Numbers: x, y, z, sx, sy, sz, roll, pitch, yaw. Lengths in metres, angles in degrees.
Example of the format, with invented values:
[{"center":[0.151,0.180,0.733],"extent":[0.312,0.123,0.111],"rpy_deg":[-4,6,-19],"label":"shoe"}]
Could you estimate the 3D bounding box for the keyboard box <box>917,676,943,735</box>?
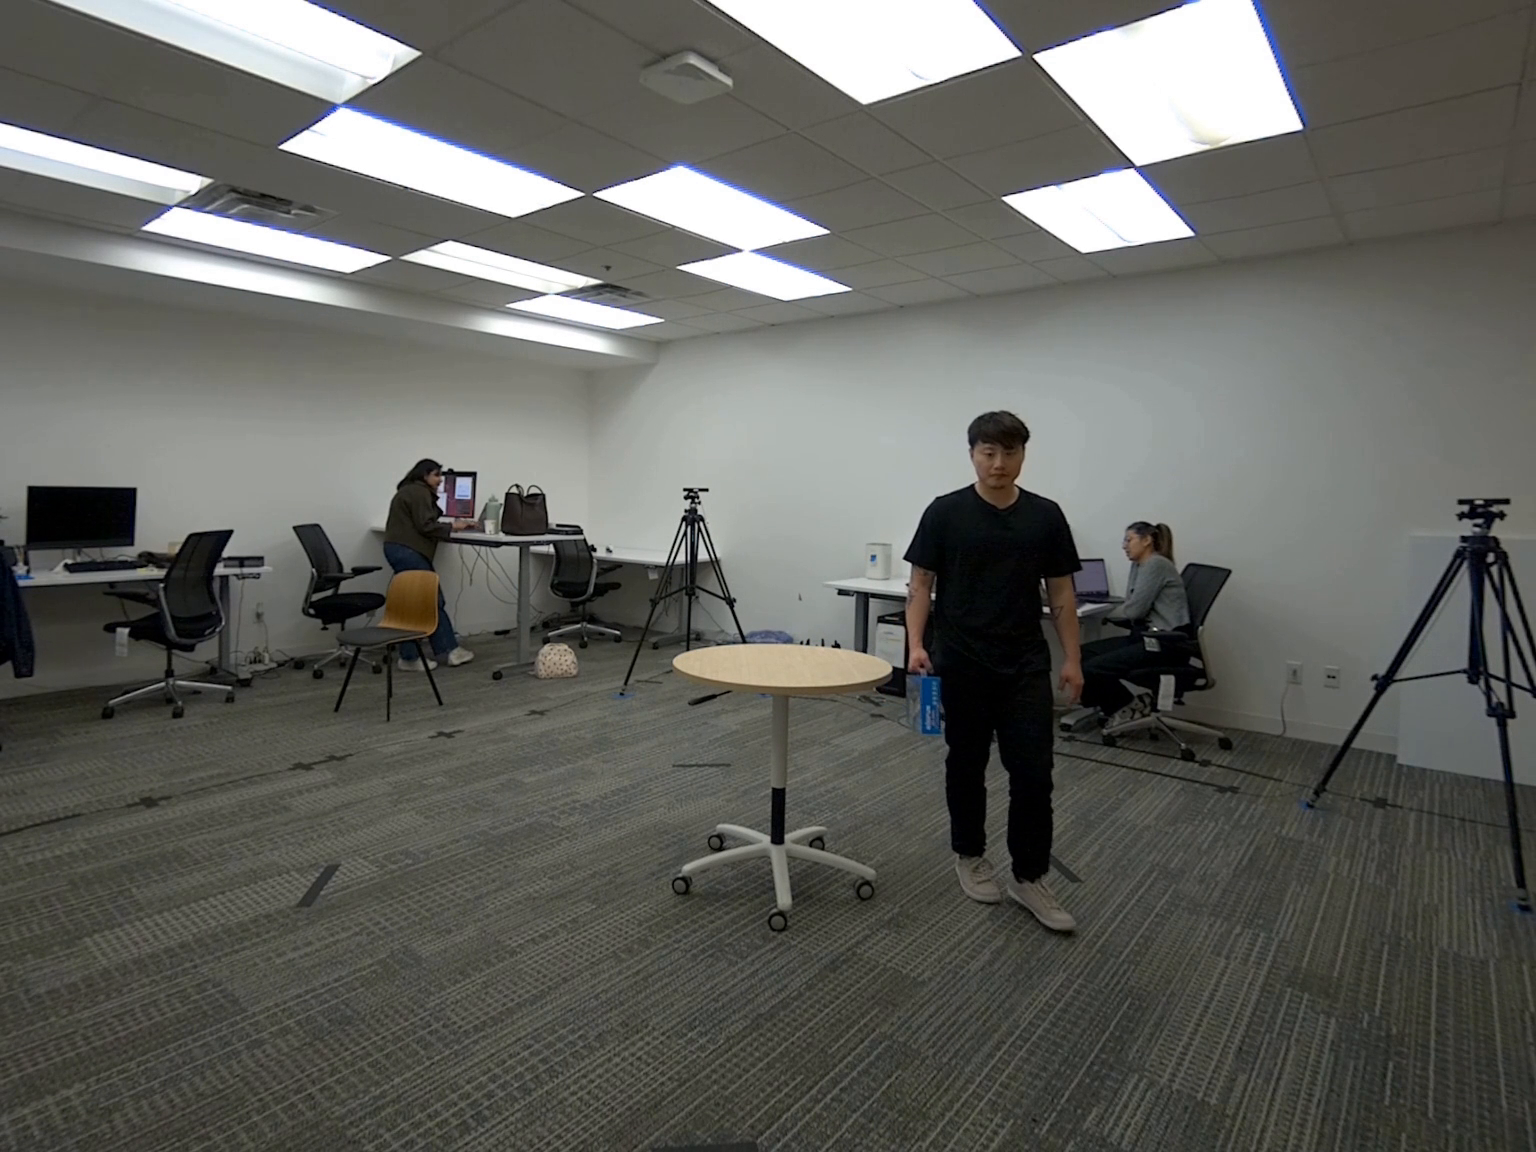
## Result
[{"center":[0.509,0.425,2.821],"extent":[0.059,0.177,0.431],"rpy_deg":[0,-6,3],"label":"keyboard box"}]
